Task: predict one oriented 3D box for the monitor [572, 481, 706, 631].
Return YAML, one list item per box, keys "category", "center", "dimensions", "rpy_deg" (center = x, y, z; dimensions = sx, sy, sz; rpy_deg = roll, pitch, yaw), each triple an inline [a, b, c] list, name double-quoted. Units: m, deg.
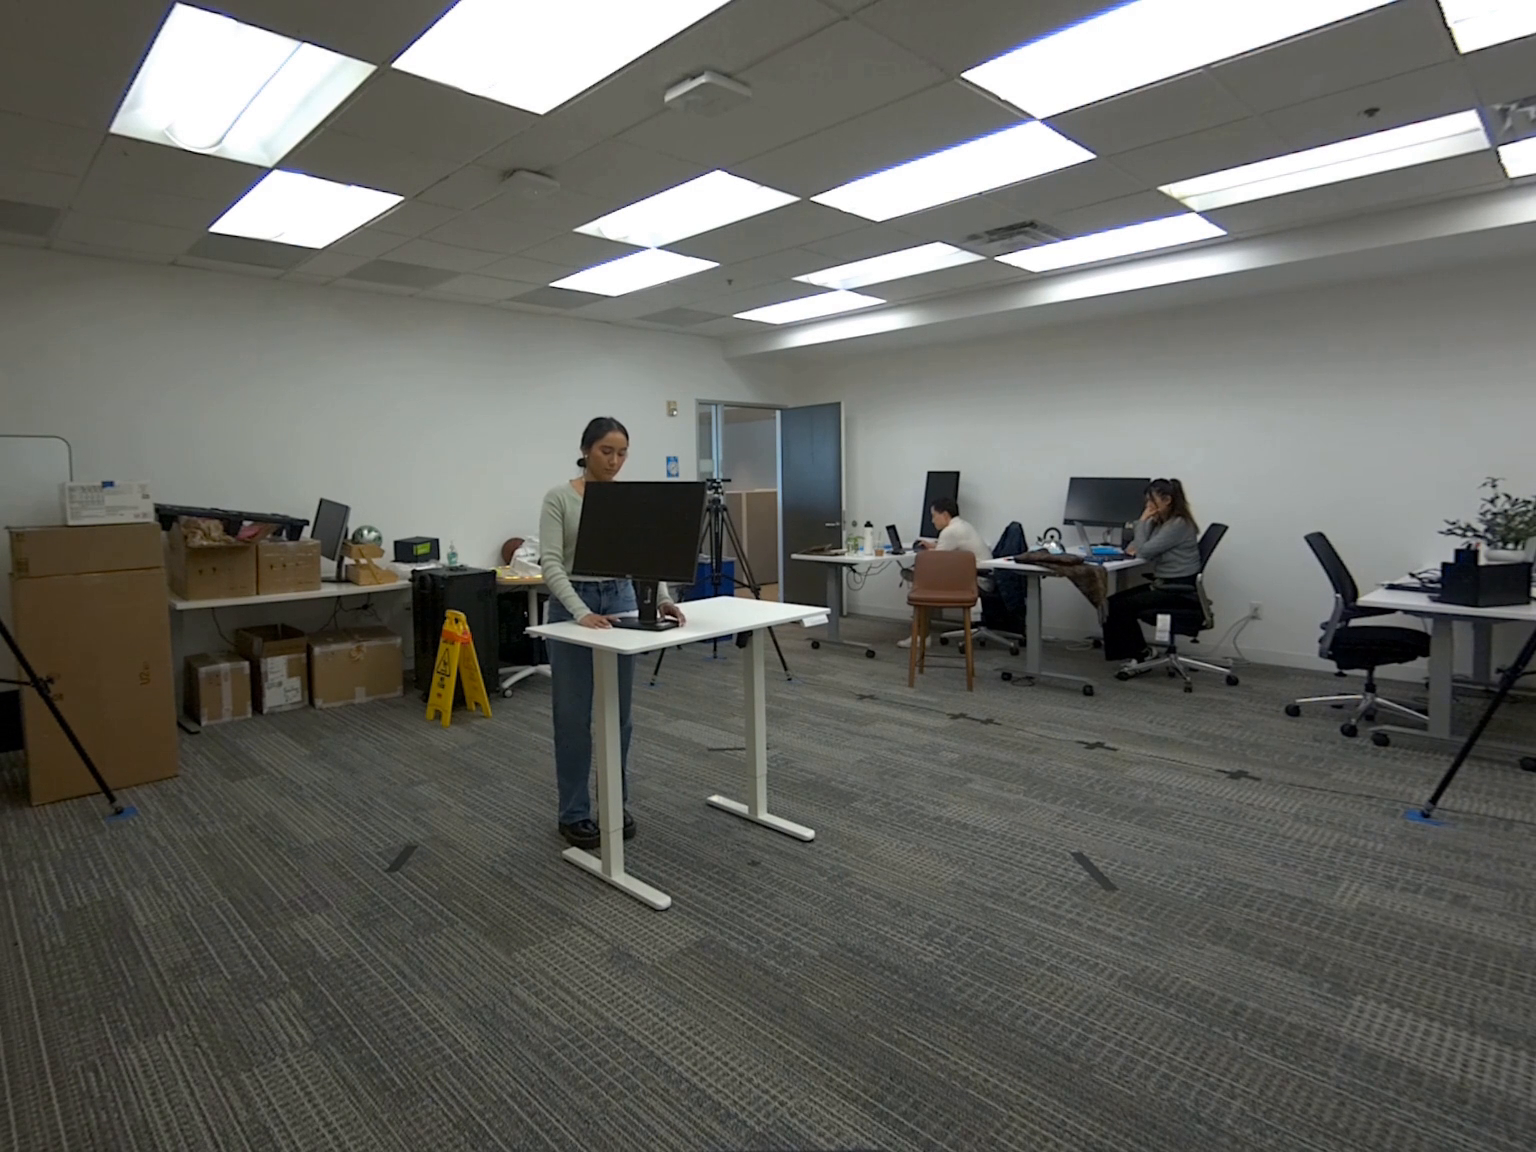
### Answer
- category: "monitor"
  center: [-0.449, -0.080, 3.046]
  dimensions: [0.544, 0.512, 0.171]
  rpy_deg: [4, 9, 30]
